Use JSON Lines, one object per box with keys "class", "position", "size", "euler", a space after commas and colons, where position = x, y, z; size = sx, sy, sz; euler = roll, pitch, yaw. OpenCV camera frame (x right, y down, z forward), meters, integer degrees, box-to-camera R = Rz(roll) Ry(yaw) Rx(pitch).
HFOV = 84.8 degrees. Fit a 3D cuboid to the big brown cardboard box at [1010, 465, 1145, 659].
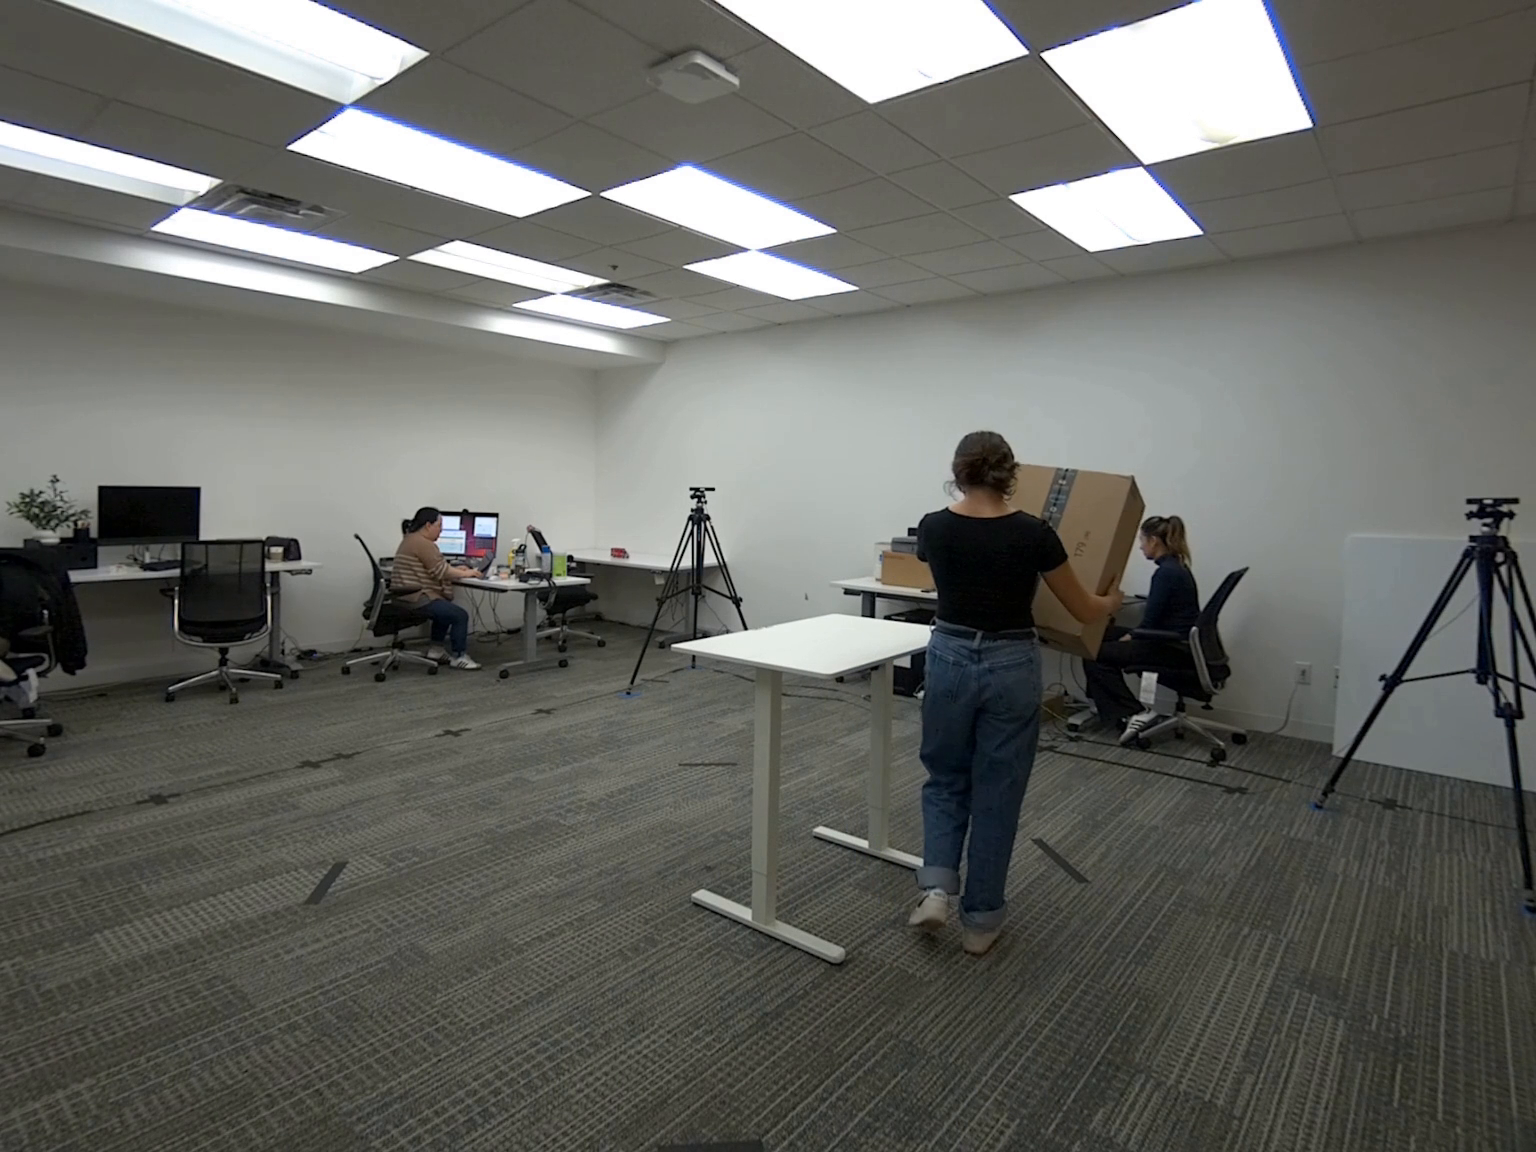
{"class": "big brown cardboard box", "position": [0.938, -0.069, 2.851], "size": [0.433, 0.592, 0.223], "euler": [13, -17, 37]}
